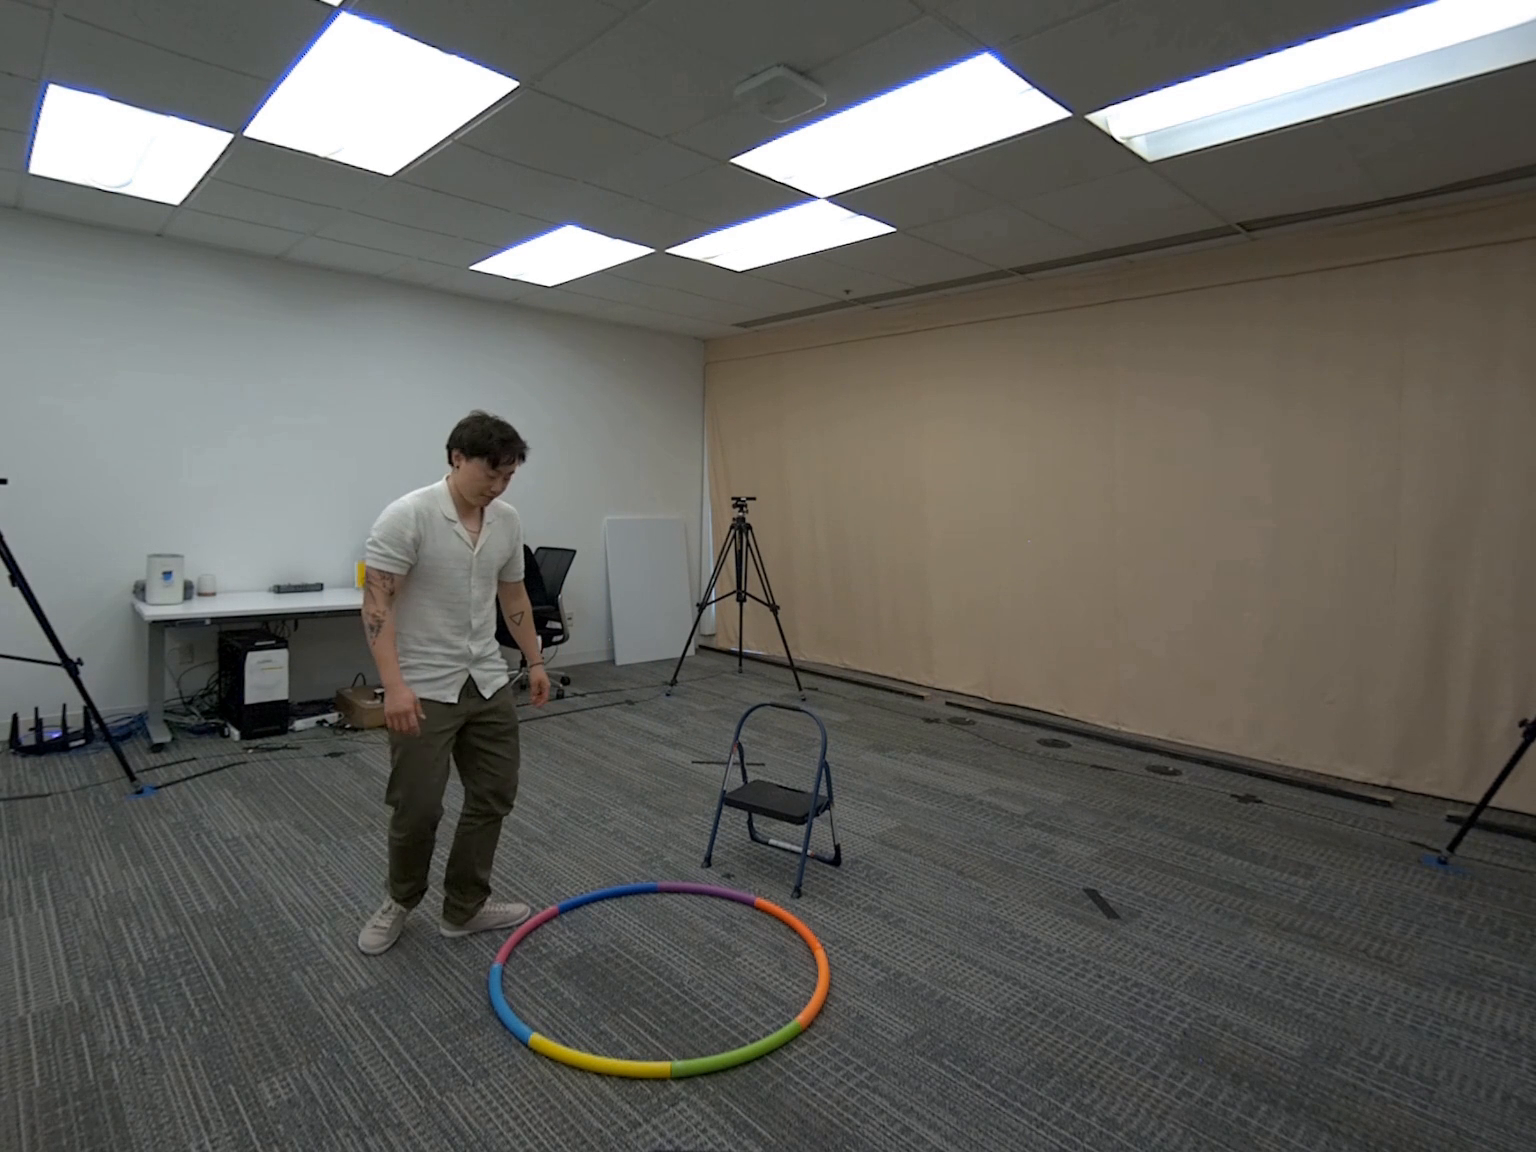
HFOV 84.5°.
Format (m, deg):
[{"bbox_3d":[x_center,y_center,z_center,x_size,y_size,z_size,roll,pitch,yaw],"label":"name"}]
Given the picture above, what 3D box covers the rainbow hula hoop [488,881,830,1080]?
[{"bbox_3d":[-0.315,1.132,2.491,0.978,0.035,0.982,1,5,-1],"label":"rainbow hula hoop"}]
